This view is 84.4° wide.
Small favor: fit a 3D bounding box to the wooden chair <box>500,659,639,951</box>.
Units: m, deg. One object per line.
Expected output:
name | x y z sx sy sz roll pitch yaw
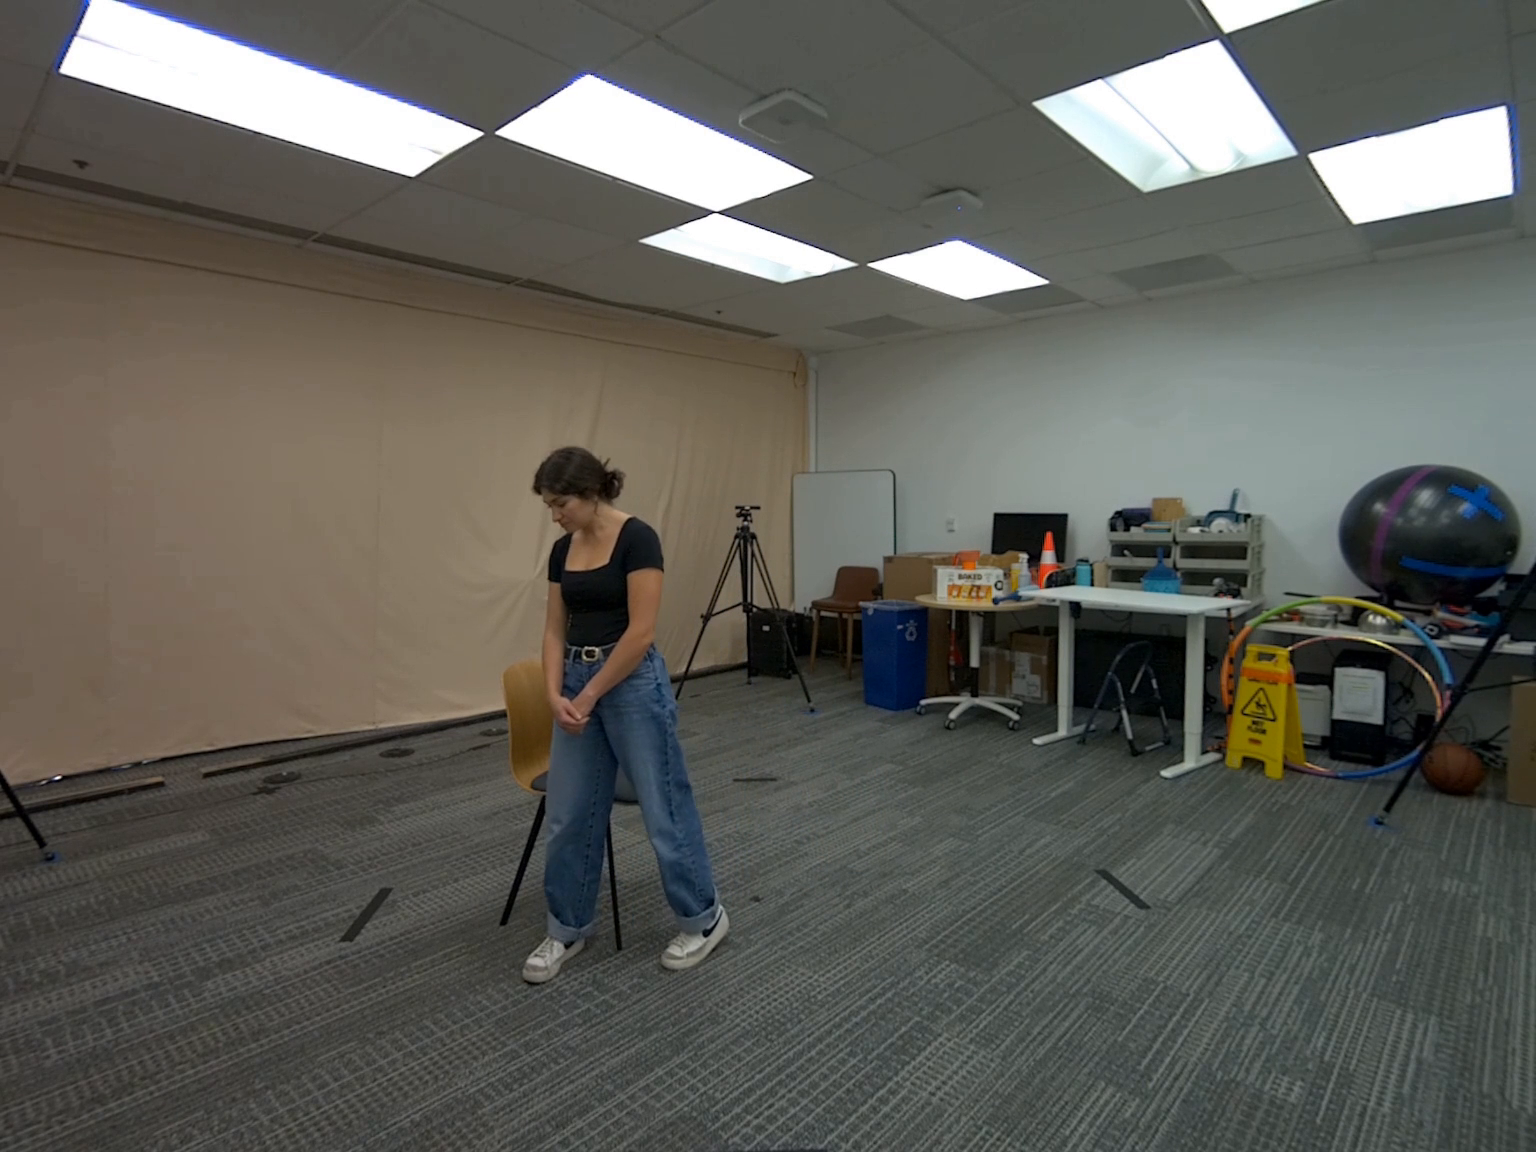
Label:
wooden chair | -0.604 0.727 2.901 0.533 0.876 0.469 -4 2 19
